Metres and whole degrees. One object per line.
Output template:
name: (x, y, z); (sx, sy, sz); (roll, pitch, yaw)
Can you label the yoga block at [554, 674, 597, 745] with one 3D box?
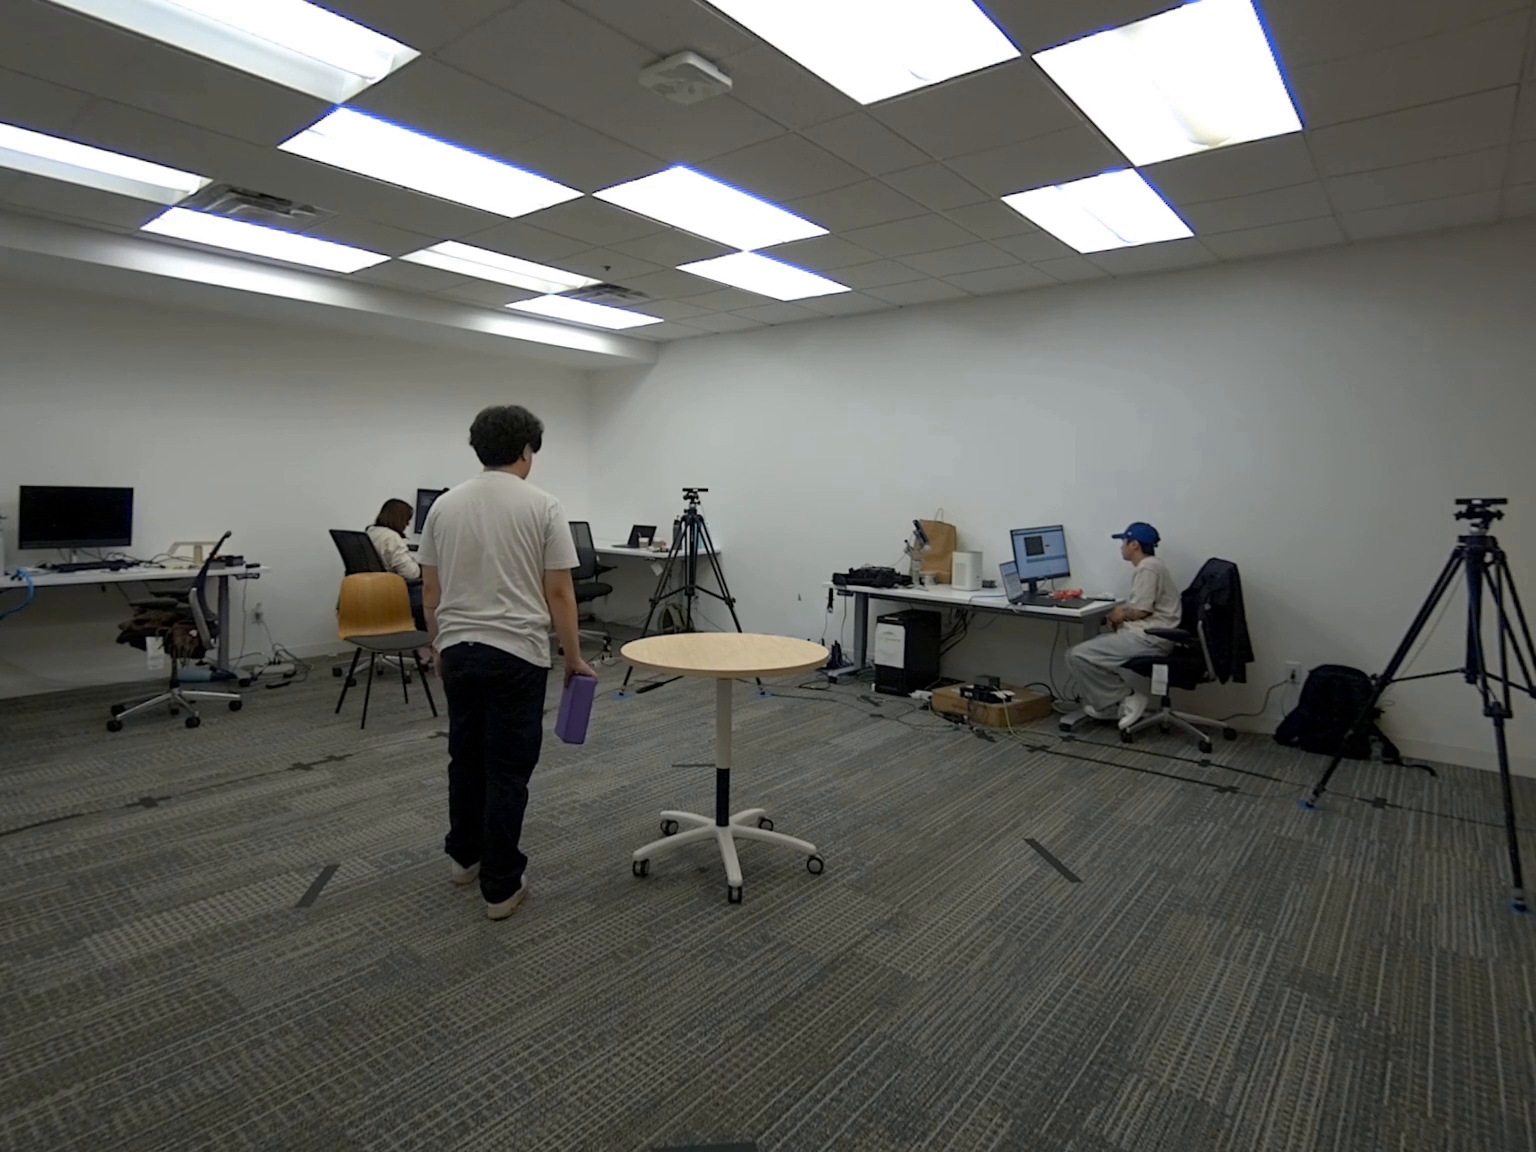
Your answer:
yoga block: (-0.693, 0.465, 2.948); (0.074, 0.230, 0.153); (12, -3, -27)
